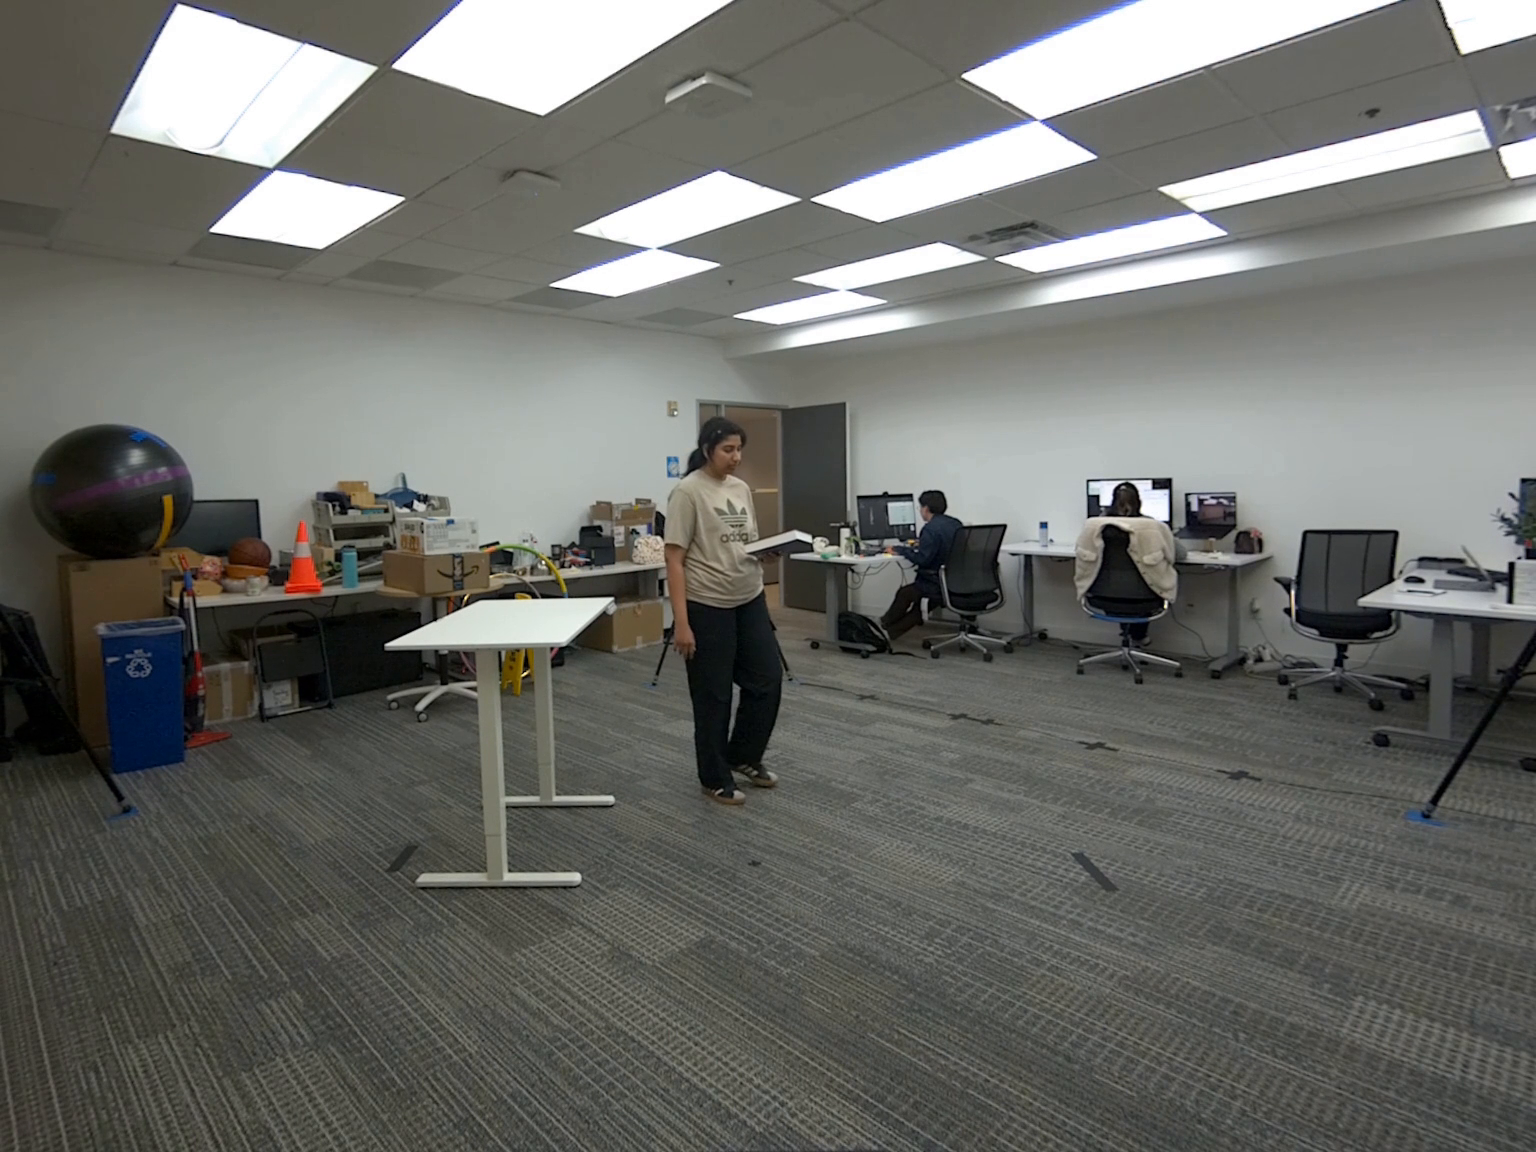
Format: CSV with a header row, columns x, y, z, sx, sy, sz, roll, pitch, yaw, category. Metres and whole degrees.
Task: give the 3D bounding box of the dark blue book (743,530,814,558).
x,y,z,sx,sy,sz,roll,pitch,yaw,category
0.050,-0.132,3.558,0.249,0.046,0.158,-15,-12,28,dark blue book
